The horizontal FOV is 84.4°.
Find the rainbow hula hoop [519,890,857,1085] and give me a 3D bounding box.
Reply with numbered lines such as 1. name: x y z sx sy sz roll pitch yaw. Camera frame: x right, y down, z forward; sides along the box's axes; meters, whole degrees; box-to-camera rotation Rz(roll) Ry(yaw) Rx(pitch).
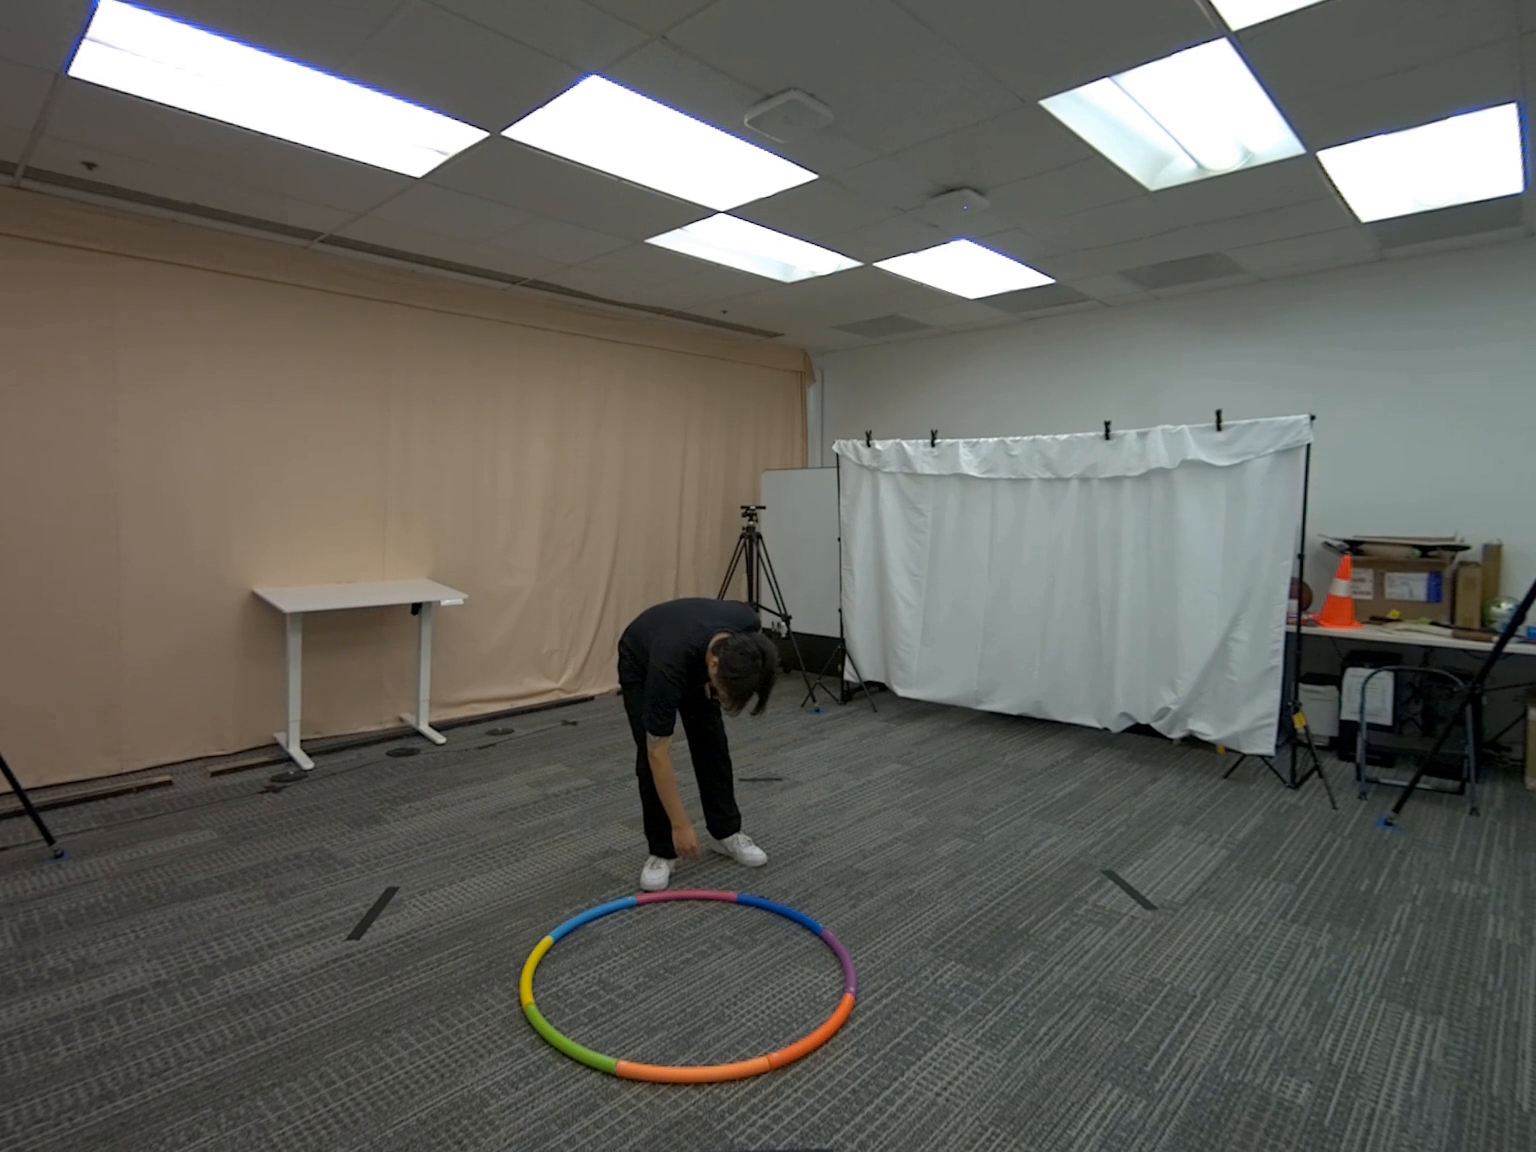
1. rainbow hula hoop: -0.230 1.155 2.514 0.978 0.035 0.982 0 4 -2
